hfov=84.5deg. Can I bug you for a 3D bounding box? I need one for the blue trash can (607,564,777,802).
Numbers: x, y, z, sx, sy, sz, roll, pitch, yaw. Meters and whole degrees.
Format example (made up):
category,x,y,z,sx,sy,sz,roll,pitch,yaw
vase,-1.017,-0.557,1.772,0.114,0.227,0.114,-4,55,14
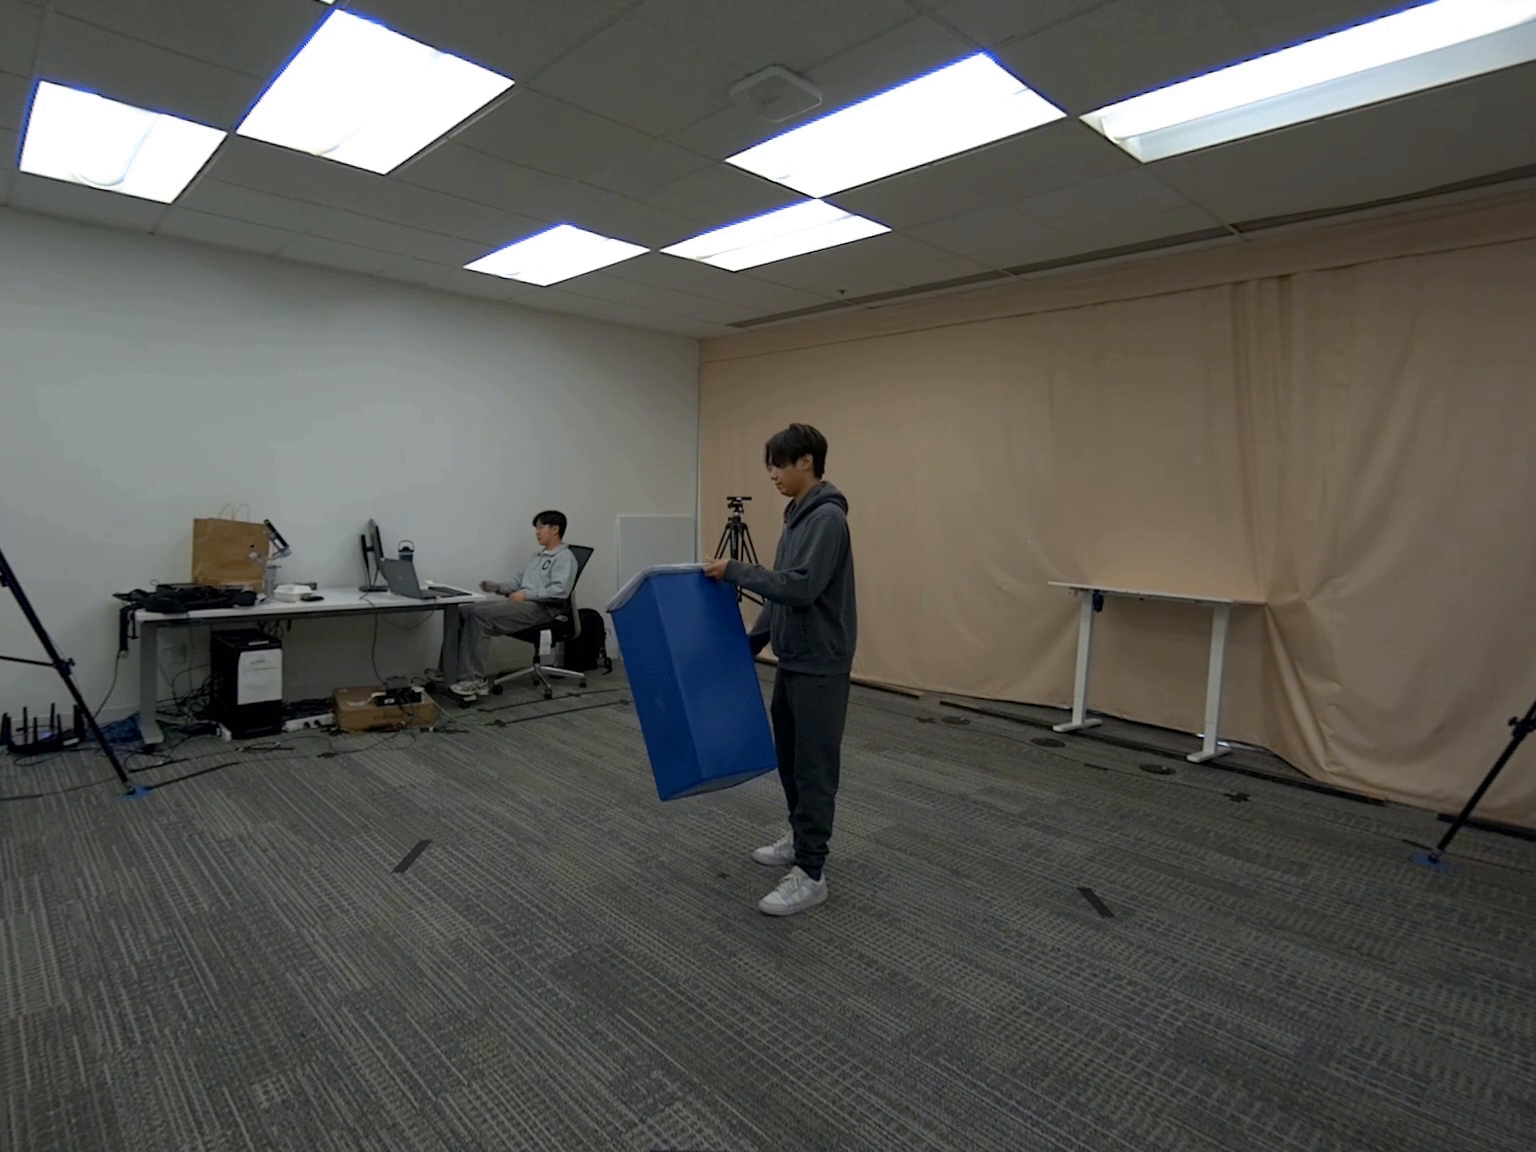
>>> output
category,x,y,z,sx,sy,sz,roll,pitch,yaw
blue trash can,-0.263,0.360,2.879,0.366,0.727,0.379,-1,-25,-37
